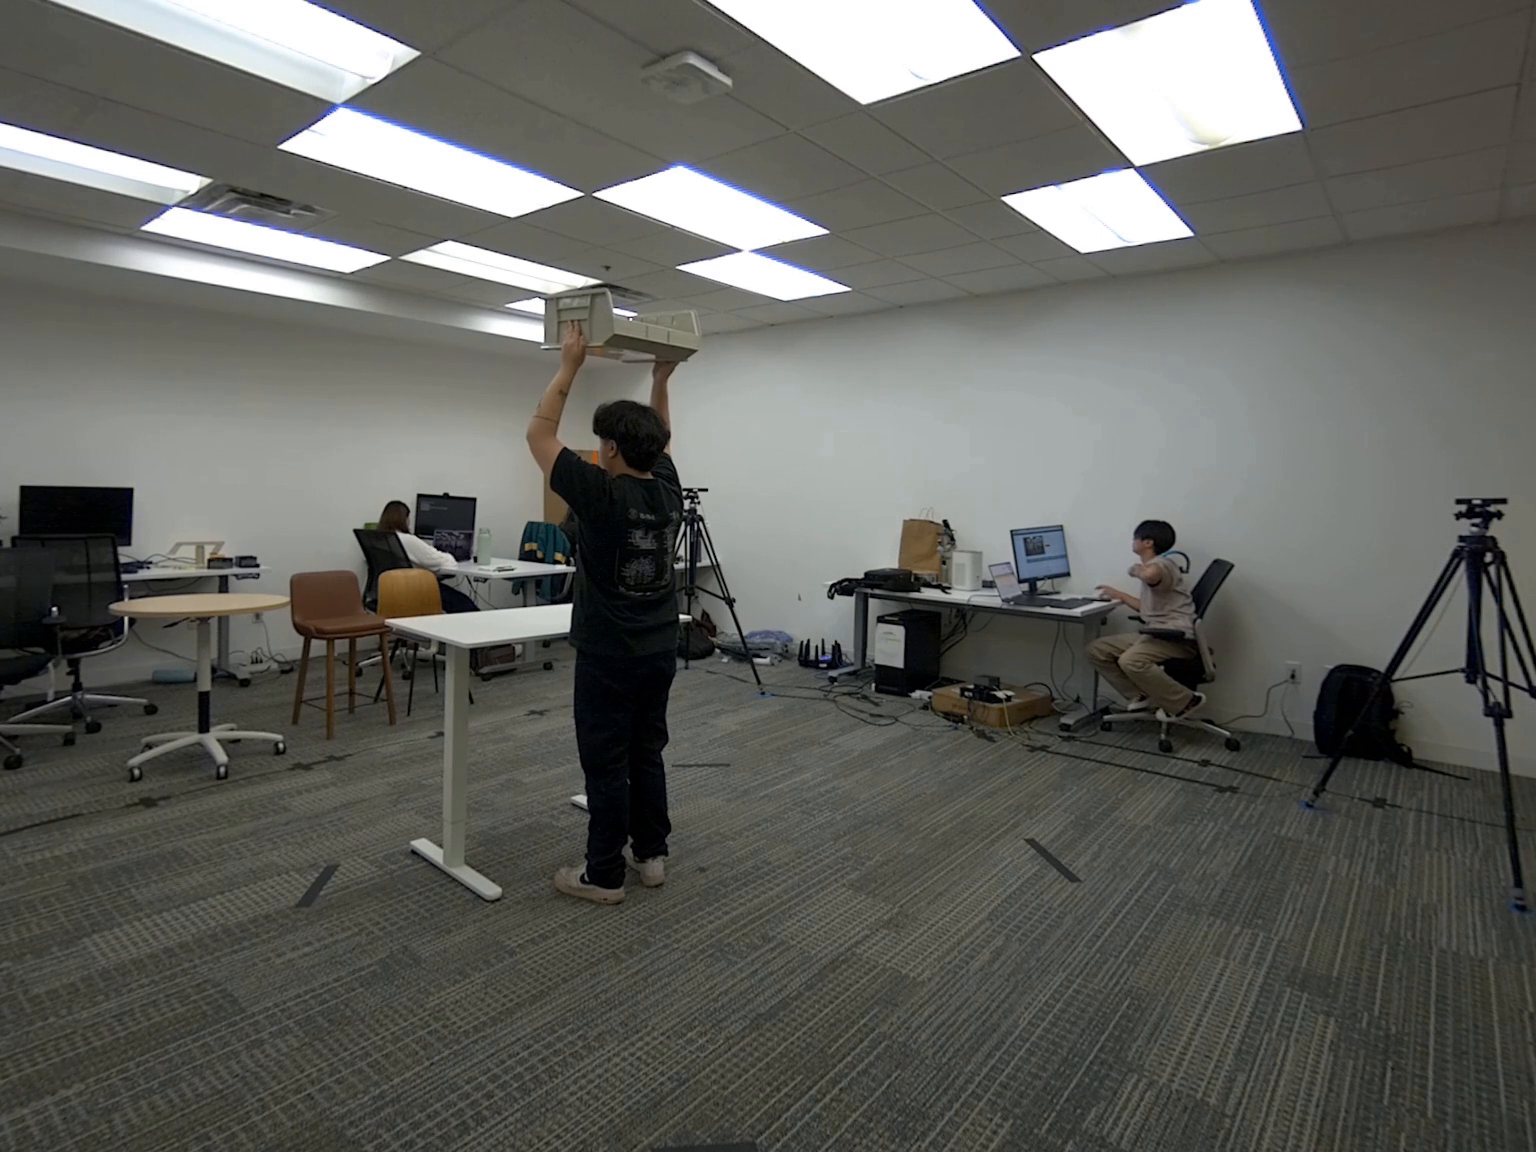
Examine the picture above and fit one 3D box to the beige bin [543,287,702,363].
[{"bbox_3d":[-0.518,-0.852,2.929,0.391,0.188,0.410,9,10,38],"label":"beige bin"}]
